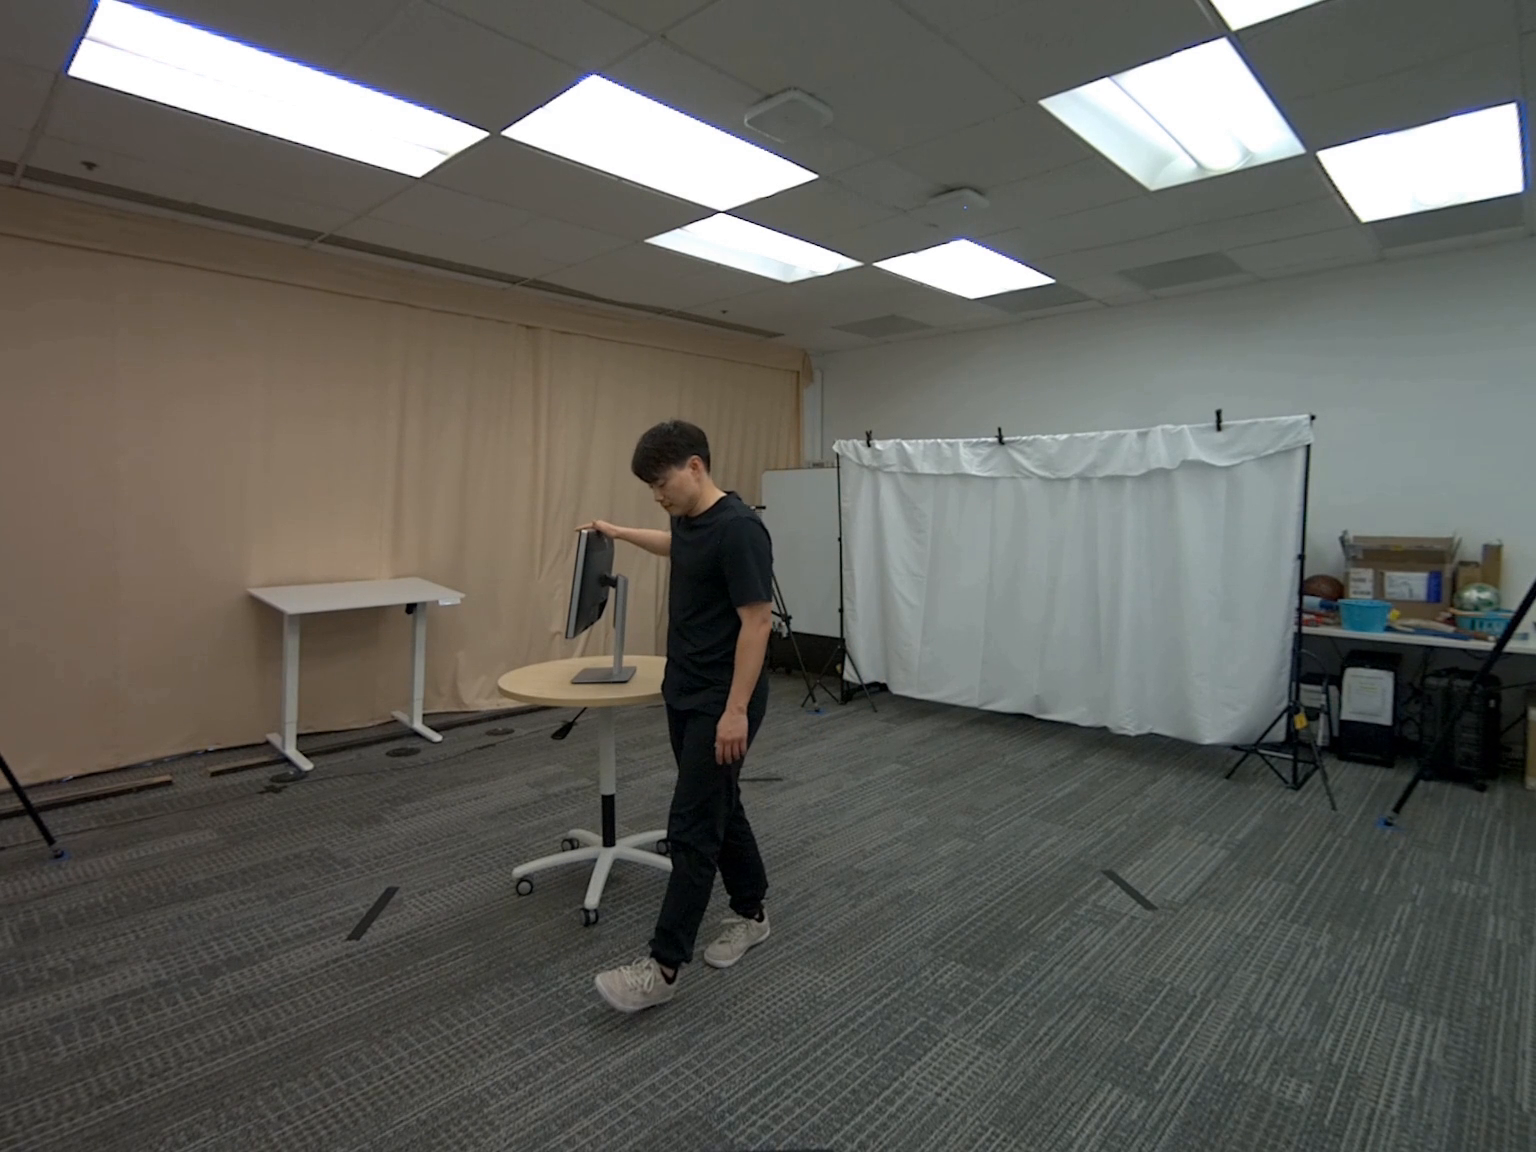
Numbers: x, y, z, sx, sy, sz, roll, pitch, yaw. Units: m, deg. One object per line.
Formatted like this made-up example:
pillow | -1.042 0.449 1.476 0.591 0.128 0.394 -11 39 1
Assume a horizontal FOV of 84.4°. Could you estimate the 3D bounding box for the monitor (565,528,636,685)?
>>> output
monitor | -0.596 0.104 3.038 0.187 0.521 0.541 -3 3 -2
